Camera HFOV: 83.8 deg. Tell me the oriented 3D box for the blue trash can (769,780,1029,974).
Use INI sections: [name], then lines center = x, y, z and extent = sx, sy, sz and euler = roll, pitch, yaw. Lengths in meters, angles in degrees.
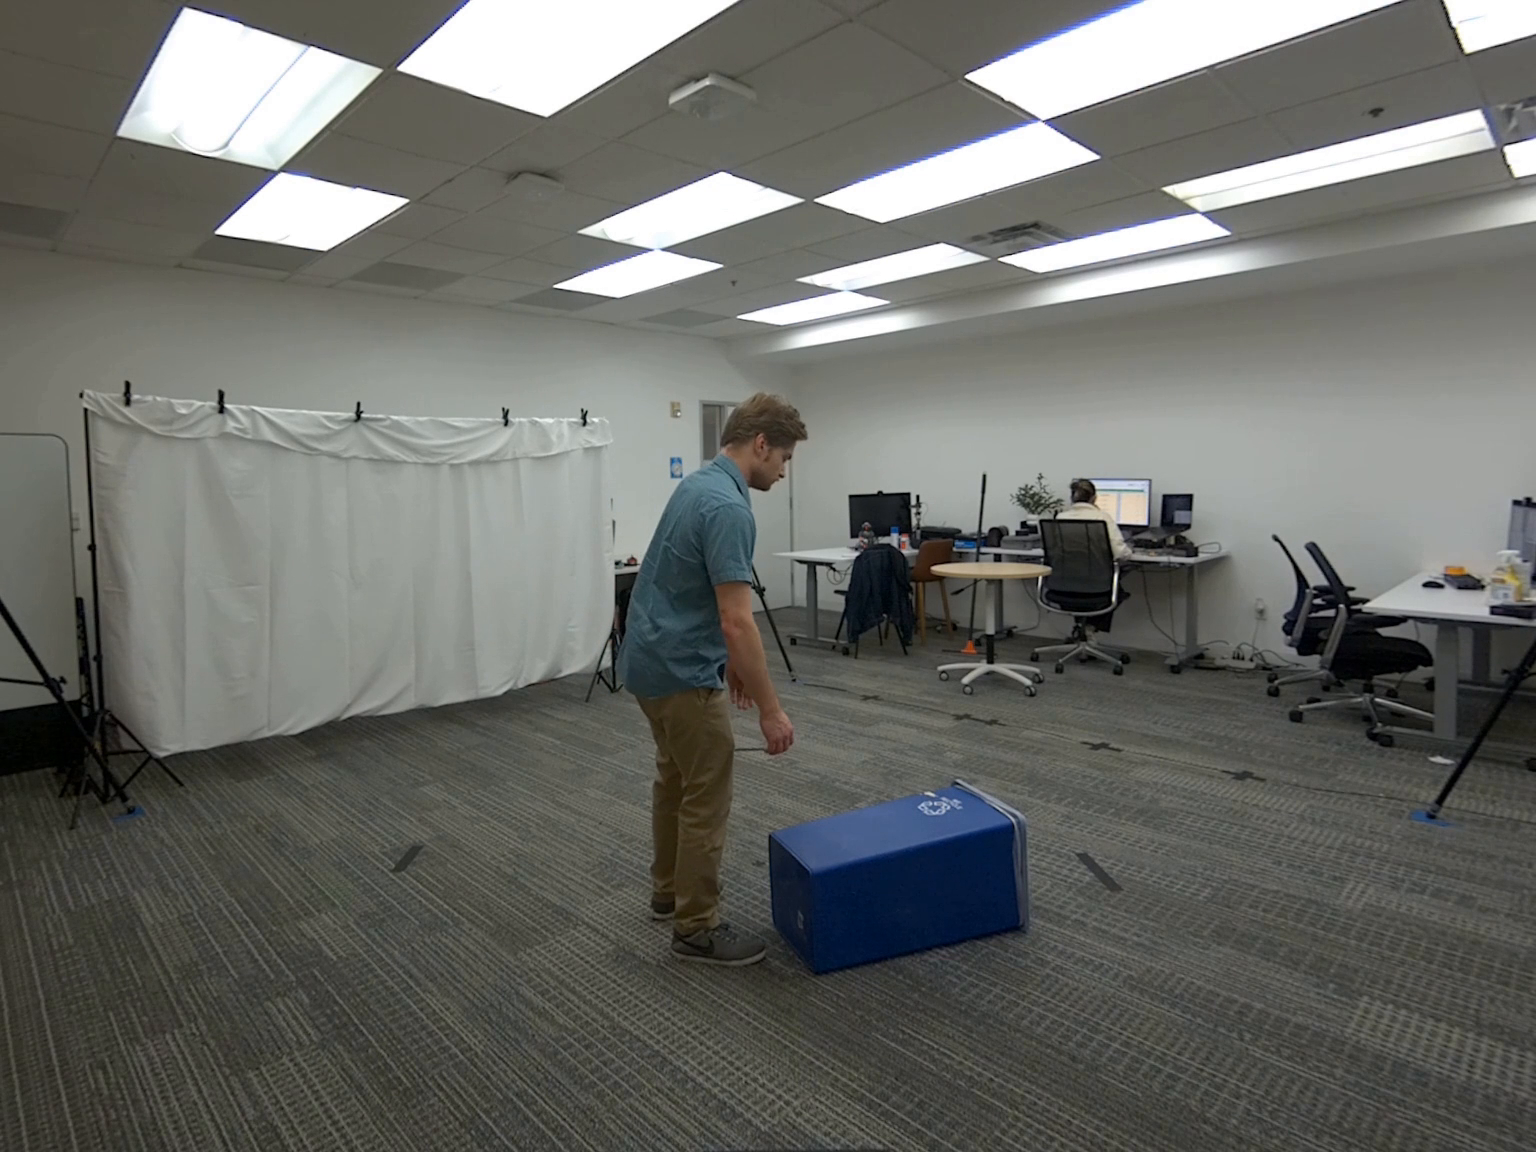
[blue trash can]
center = 0.397, 0.925, 2.639
extent = 0.701, 0.376, 0.382
euler = -6, 6, -21
